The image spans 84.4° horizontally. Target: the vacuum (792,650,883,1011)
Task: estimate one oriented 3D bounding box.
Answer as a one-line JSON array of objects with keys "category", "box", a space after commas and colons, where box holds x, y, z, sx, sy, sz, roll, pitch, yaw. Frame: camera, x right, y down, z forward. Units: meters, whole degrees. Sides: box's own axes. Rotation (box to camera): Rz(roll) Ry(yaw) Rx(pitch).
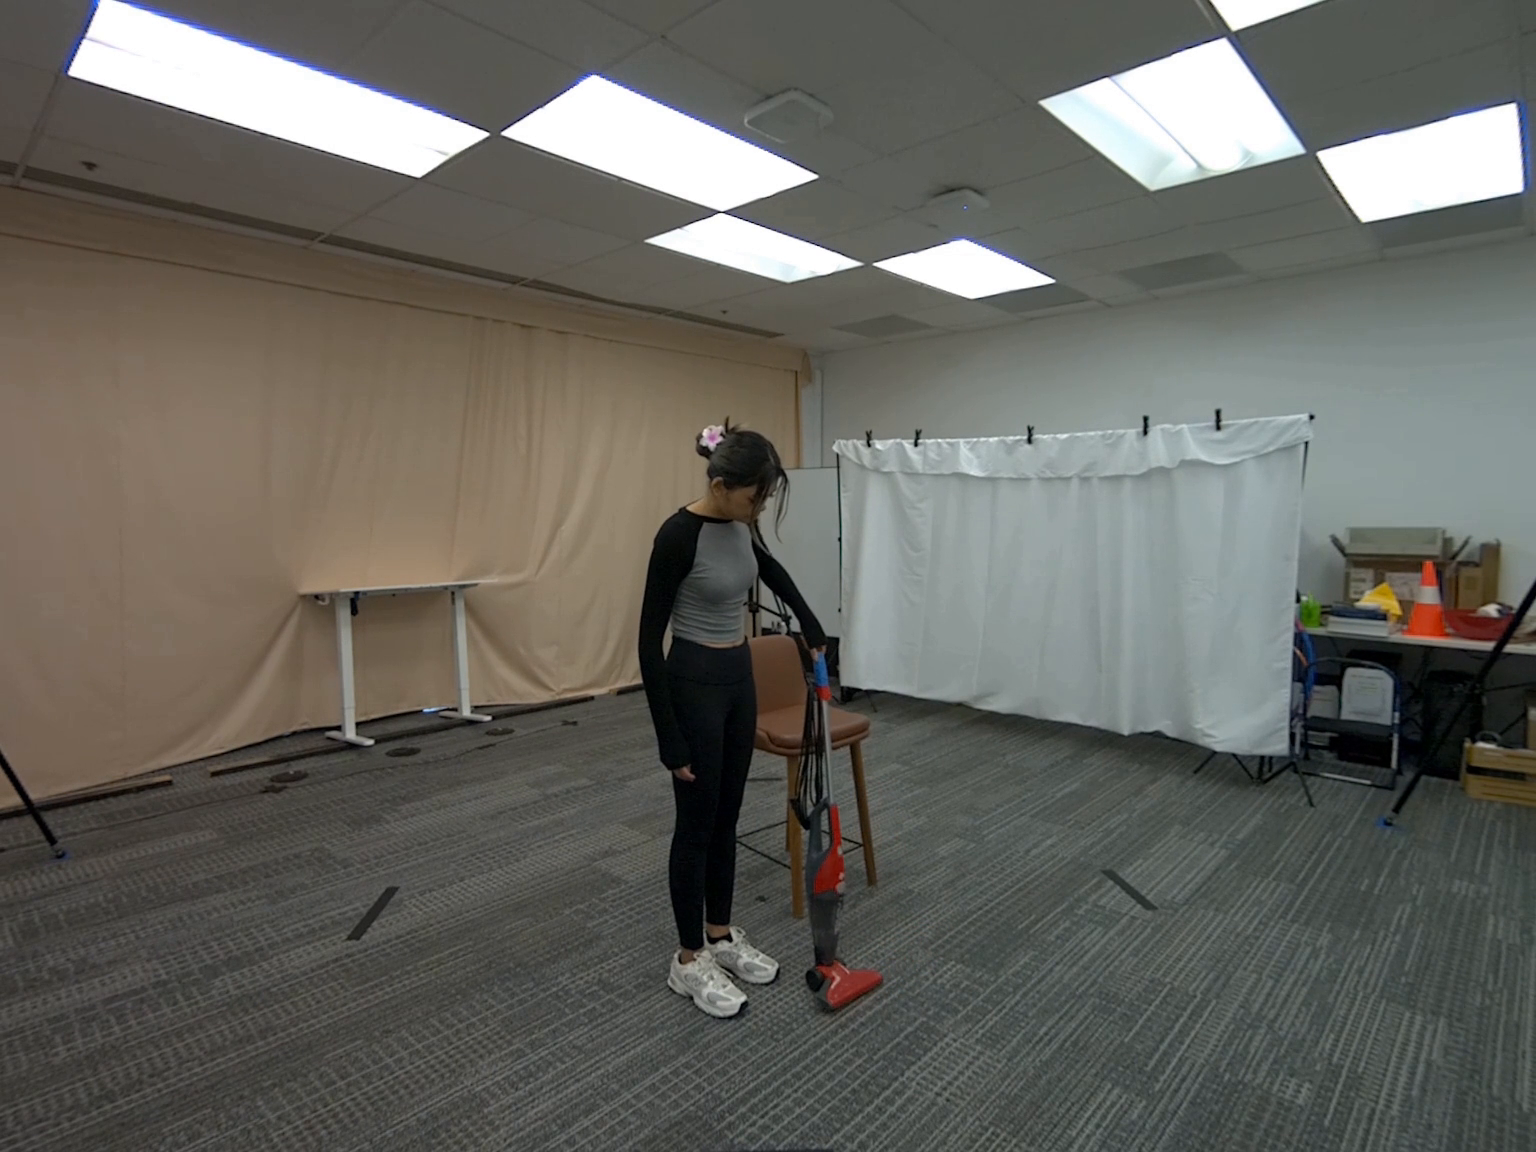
[{"category": "vacuum", "box": [0.166, 0.681, 2.504, 0.148, 1.056, 0.244, -12, -11, 39]}]
